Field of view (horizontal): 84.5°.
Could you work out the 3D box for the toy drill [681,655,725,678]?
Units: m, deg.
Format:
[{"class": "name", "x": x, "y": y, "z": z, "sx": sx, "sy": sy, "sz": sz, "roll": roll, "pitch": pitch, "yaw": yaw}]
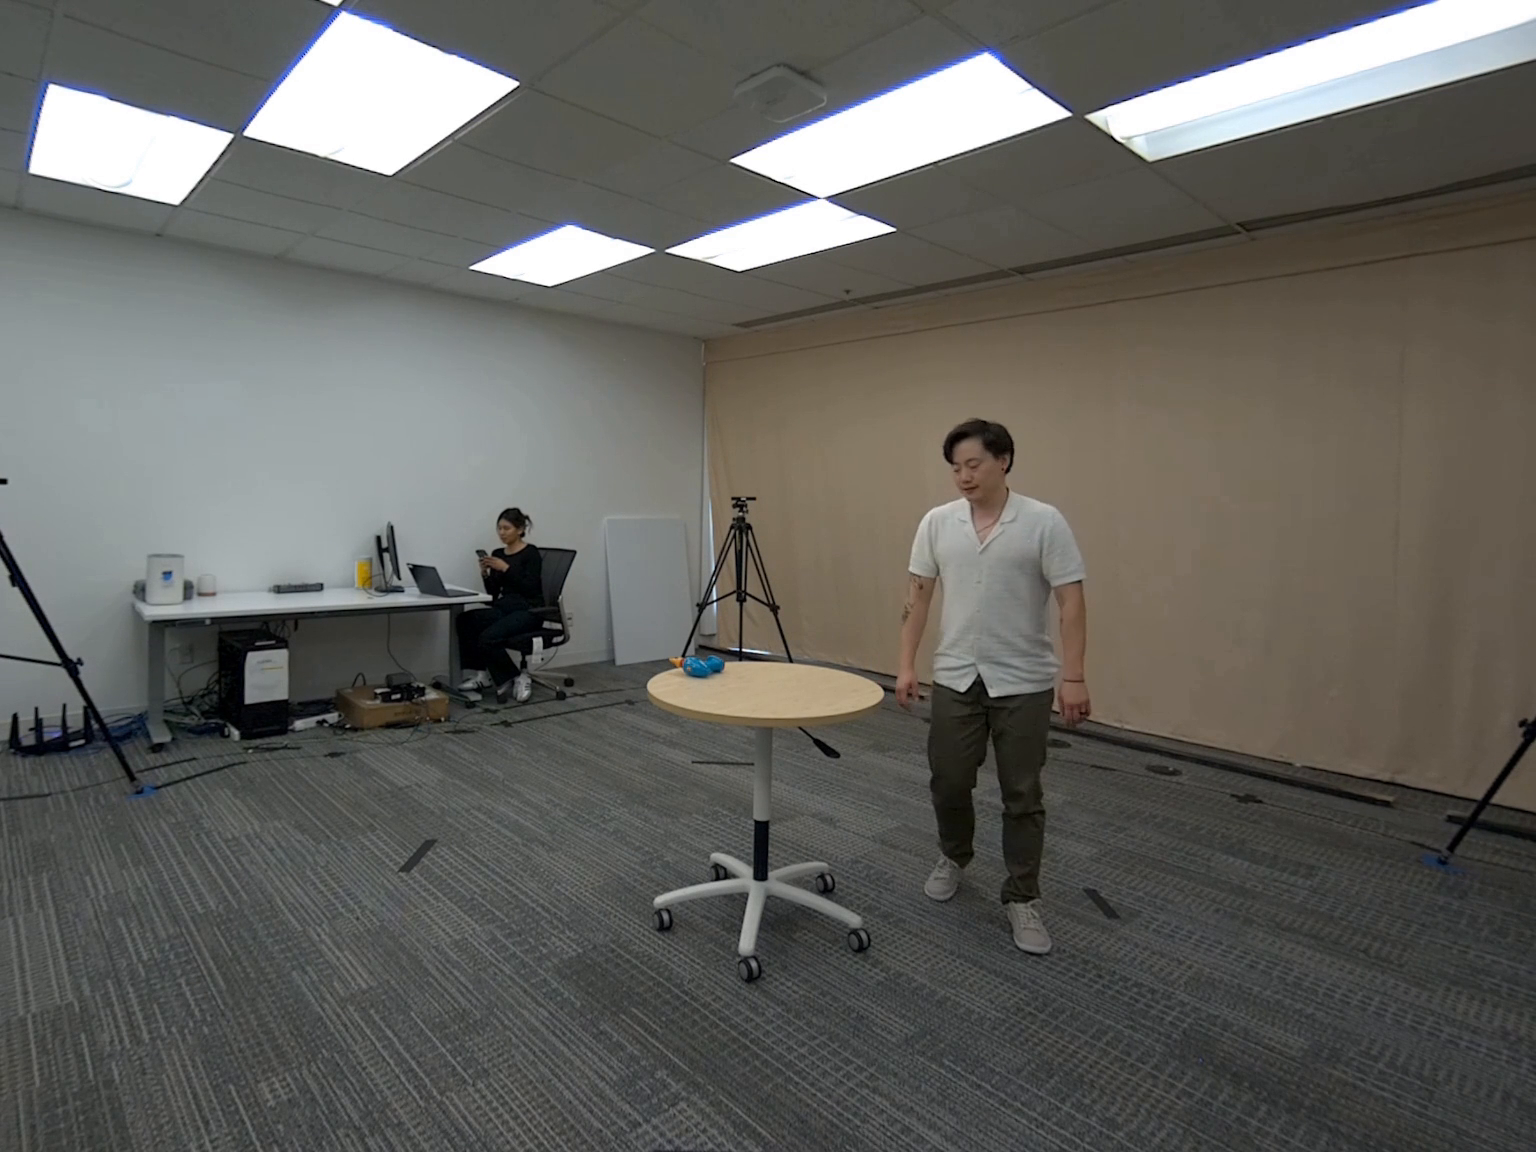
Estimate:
[{"class": "toy drill", "x": -0.250, "y": 0.305, "z": 2.901, "sx": 0.174, "sy": 0.061, "sz": 0.143, "roll": 11, "pitch": 7, "yaw": 30}]
